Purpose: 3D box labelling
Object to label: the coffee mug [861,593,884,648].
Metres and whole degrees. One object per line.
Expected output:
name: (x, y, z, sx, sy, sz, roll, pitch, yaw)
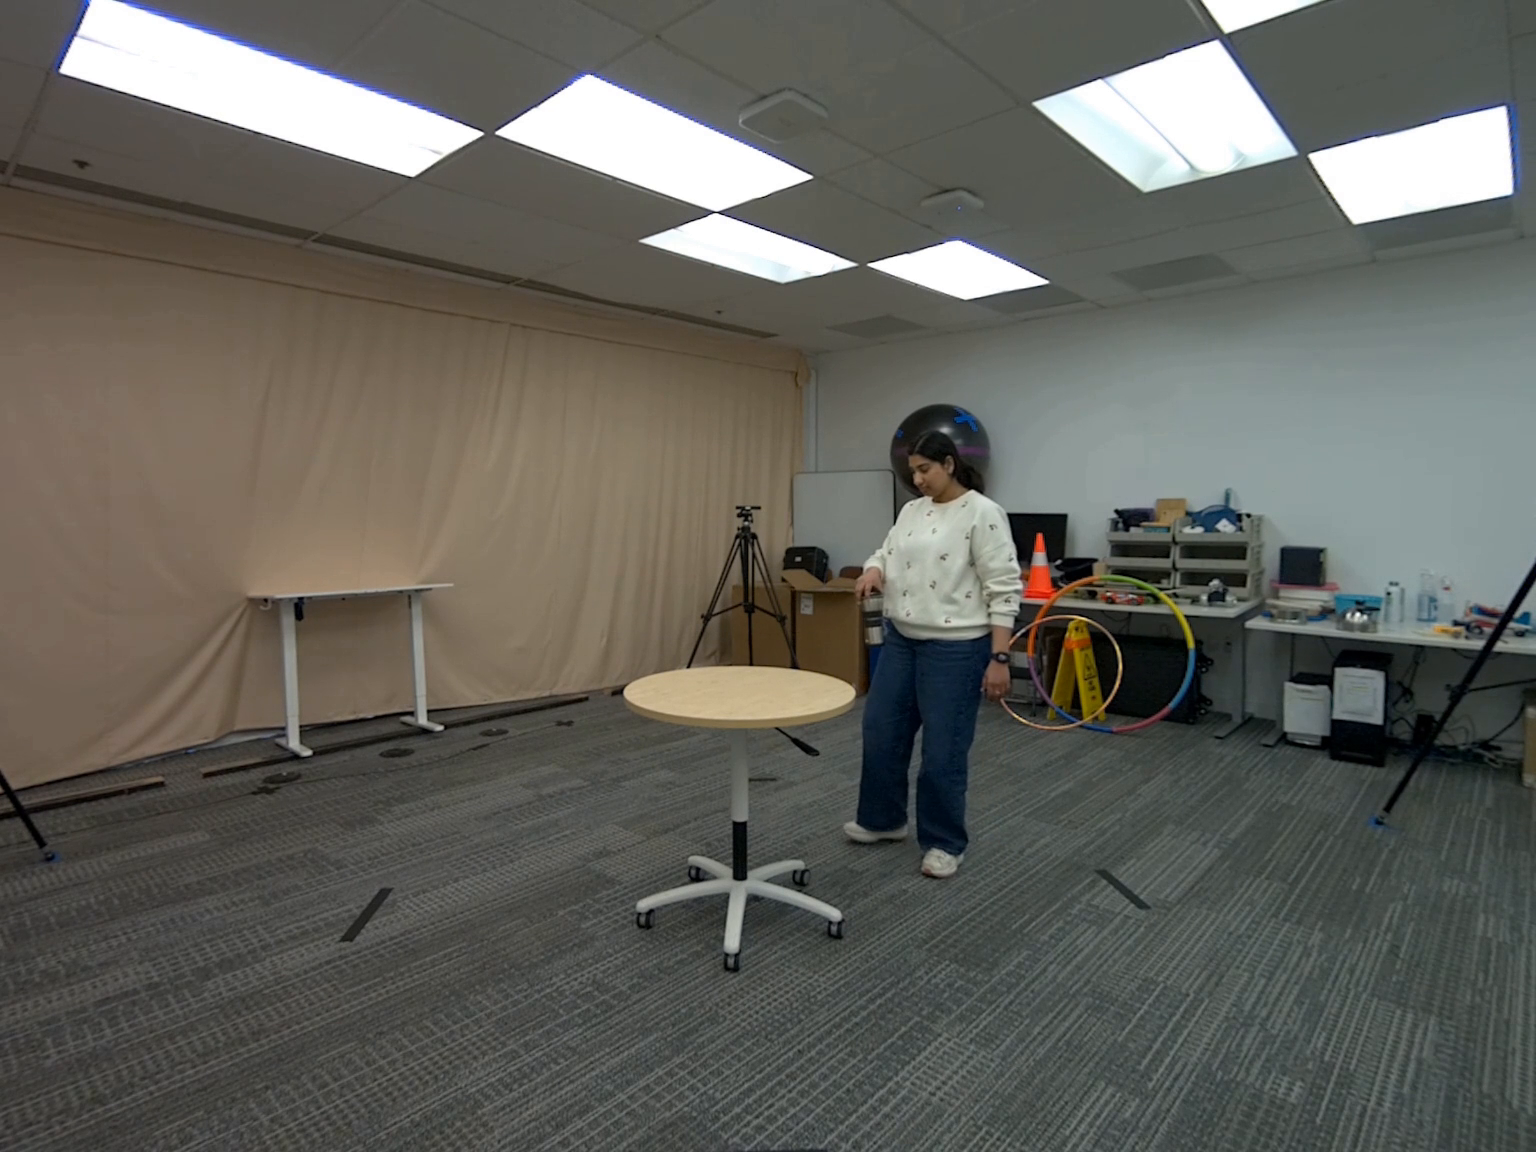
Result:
coffee mug: (0.407, 0.166, 3.200, 0.090, 0.203, 0.119, -5, -1, 23)
